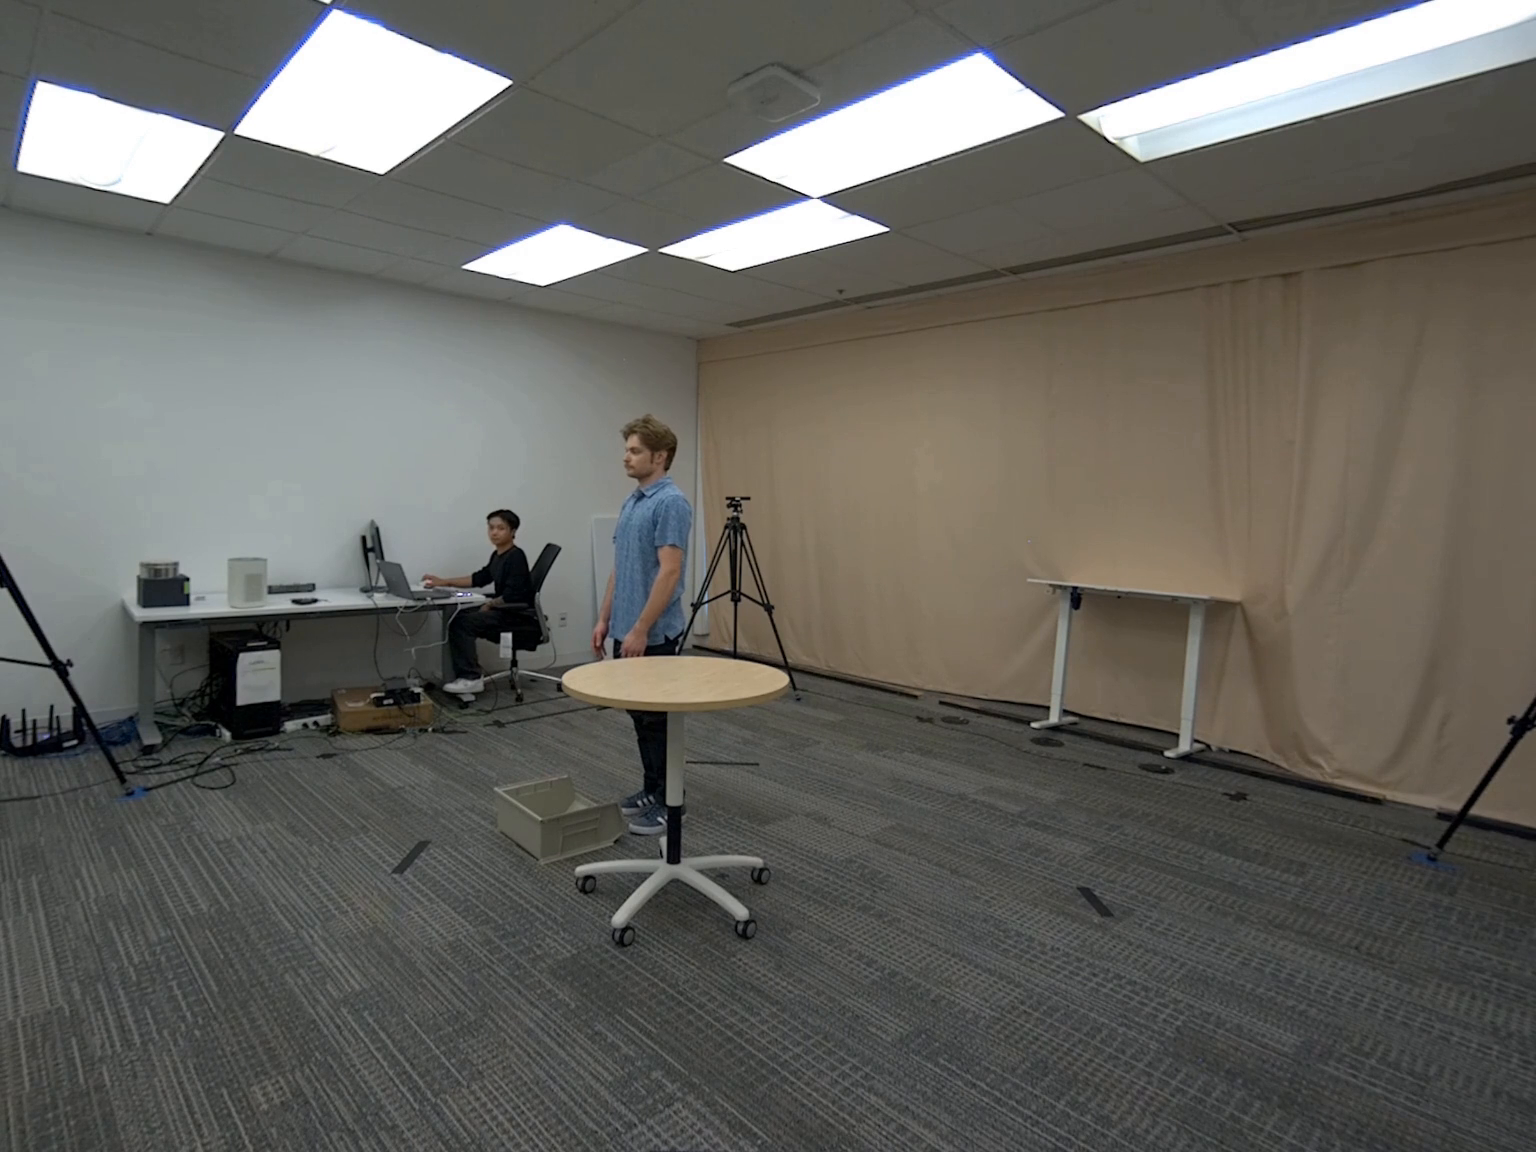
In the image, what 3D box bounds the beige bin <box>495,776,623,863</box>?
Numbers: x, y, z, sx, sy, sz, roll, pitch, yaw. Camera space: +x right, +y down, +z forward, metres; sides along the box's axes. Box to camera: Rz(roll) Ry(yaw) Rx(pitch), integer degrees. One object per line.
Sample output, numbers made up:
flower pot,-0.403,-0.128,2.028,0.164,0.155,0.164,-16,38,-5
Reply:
beige bin,-0.858,0.978,3.424,0.369,0.188,0.433,-3,7,-40
